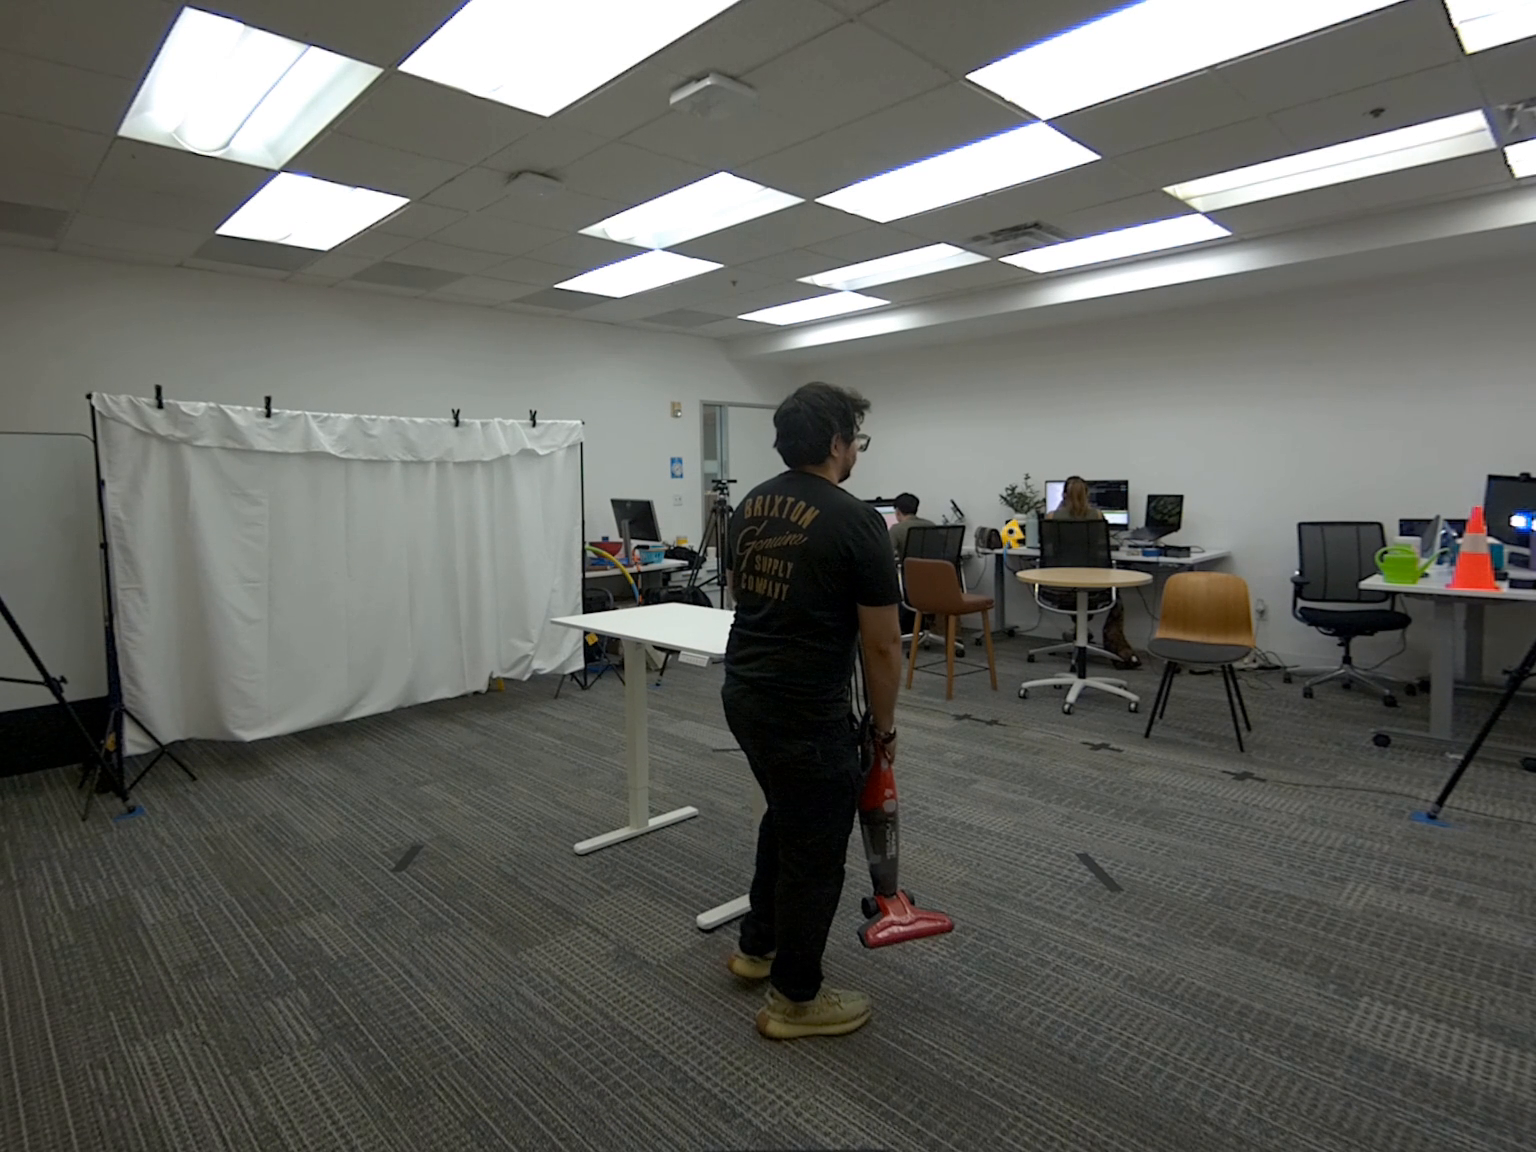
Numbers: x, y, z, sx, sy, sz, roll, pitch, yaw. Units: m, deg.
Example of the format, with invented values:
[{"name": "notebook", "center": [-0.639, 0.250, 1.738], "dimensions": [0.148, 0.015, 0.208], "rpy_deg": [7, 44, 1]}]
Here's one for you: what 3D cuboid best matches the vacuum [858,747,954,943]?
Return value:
[{"name": "vacuum", "center": [0.281, 0.359, 2.289], "dimensions": [0.248, 1.063, 0.145], "rpy_deg": [-1, -14, -19]}]
